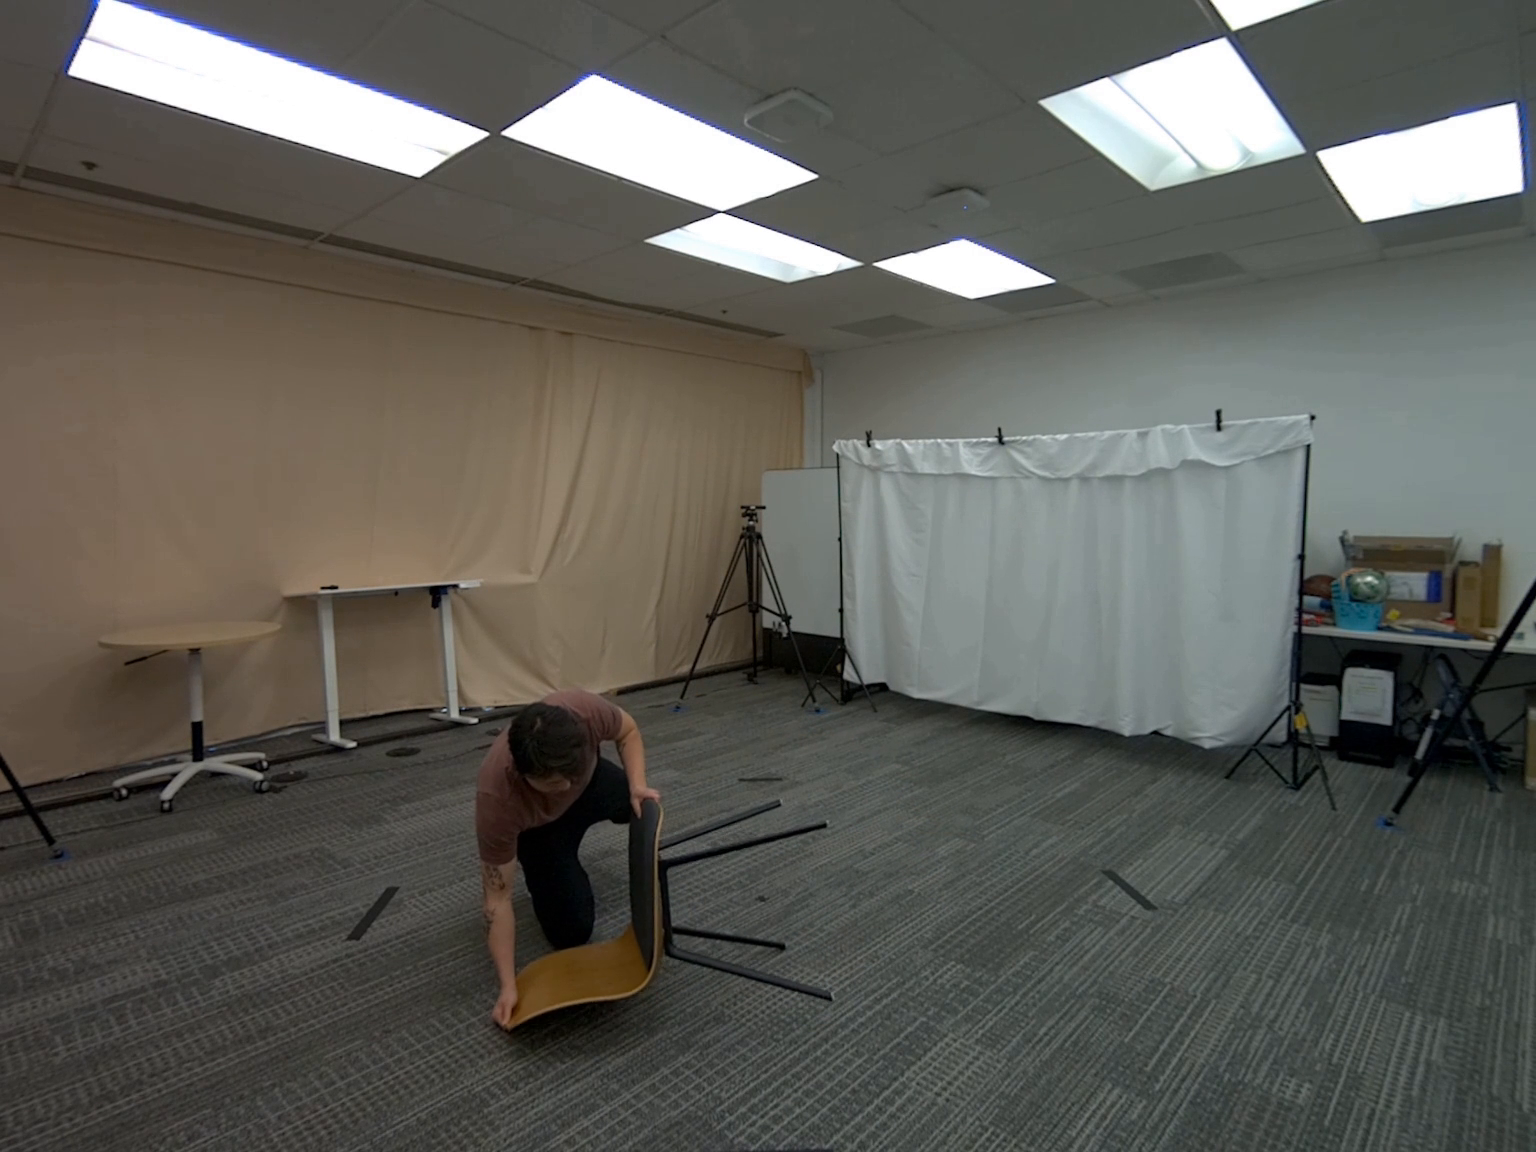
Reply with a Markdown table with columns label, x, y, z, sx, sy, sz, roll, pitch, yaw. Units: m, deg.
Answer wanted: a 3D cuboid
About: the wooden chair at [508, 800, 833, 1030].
| label | x | y | z | sx | sy | sz | roll | pitch | yaw |
| --- | --- | --- | --- | --- | --- | --- | --- | --- | --- |
| wooden chair | -0.303 | 0.913 | 2.378 | 0.865 | 0.526 | 0.482 | -4 | -7 | -14 |
